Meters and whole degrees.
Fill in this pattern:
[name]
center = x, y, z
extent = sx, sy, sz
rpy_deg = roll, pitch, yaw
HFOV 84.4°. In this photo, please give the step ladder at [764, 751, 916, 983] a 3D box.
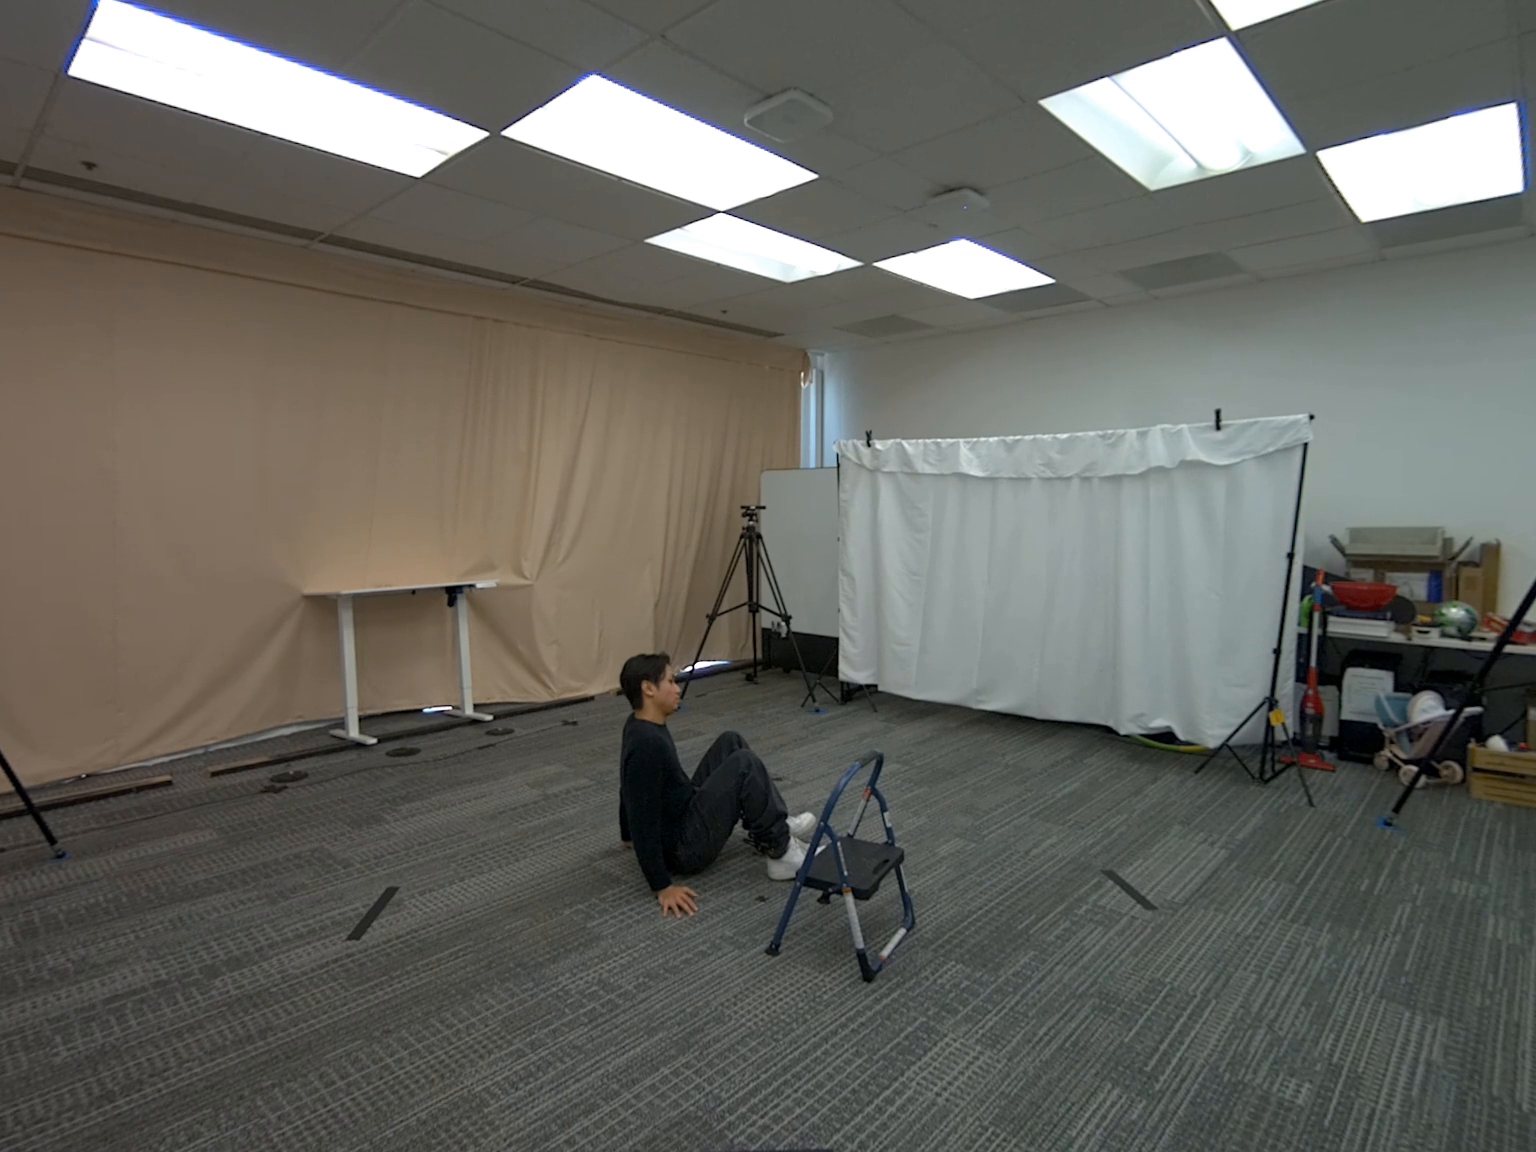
[step ladder]
center = 0.247, 0.864, 2.694
extent = 0.359, 0.605, 0.419
rpy_deg = 1, 4, 29
